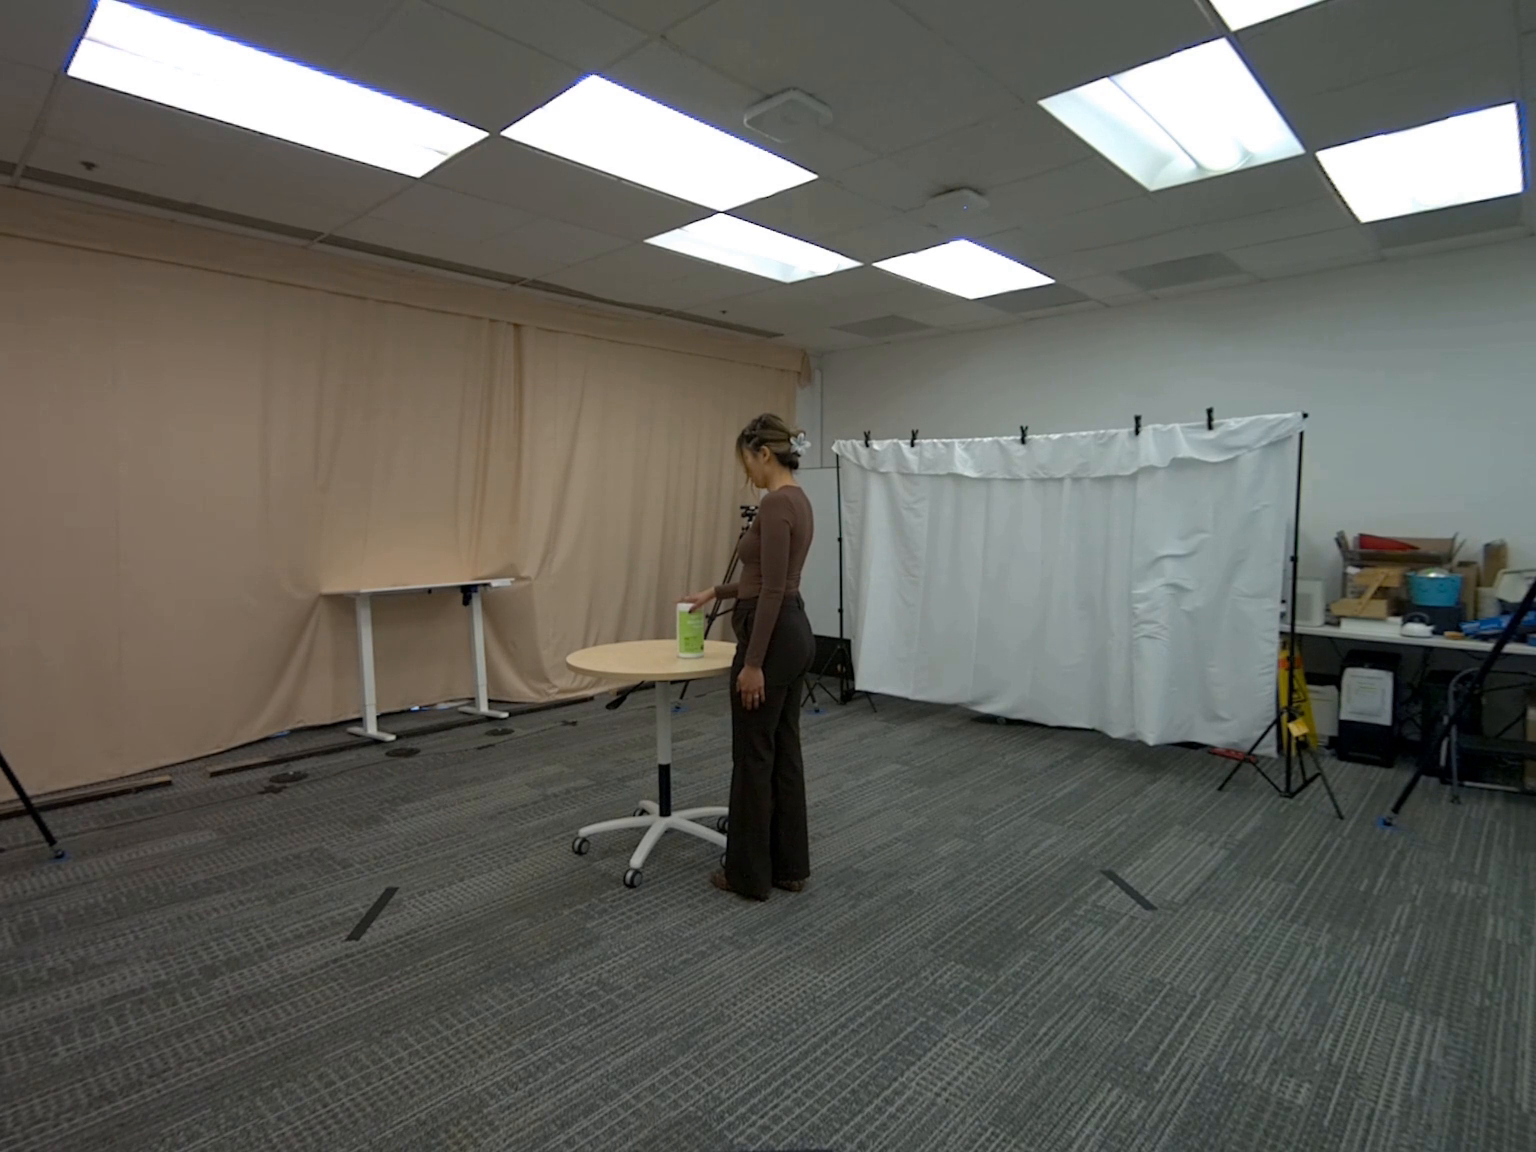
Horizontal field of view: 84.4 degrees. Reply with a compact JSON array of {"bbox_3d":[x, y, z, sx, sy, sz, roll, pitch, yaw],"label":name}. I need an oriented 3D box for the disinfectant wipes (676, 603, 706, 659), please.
[{"bbox_3d":[-0.307,0.212,3.335,0.117,0.217,0.118,2,6,-2],"label":"disinfectant wipes"}]
